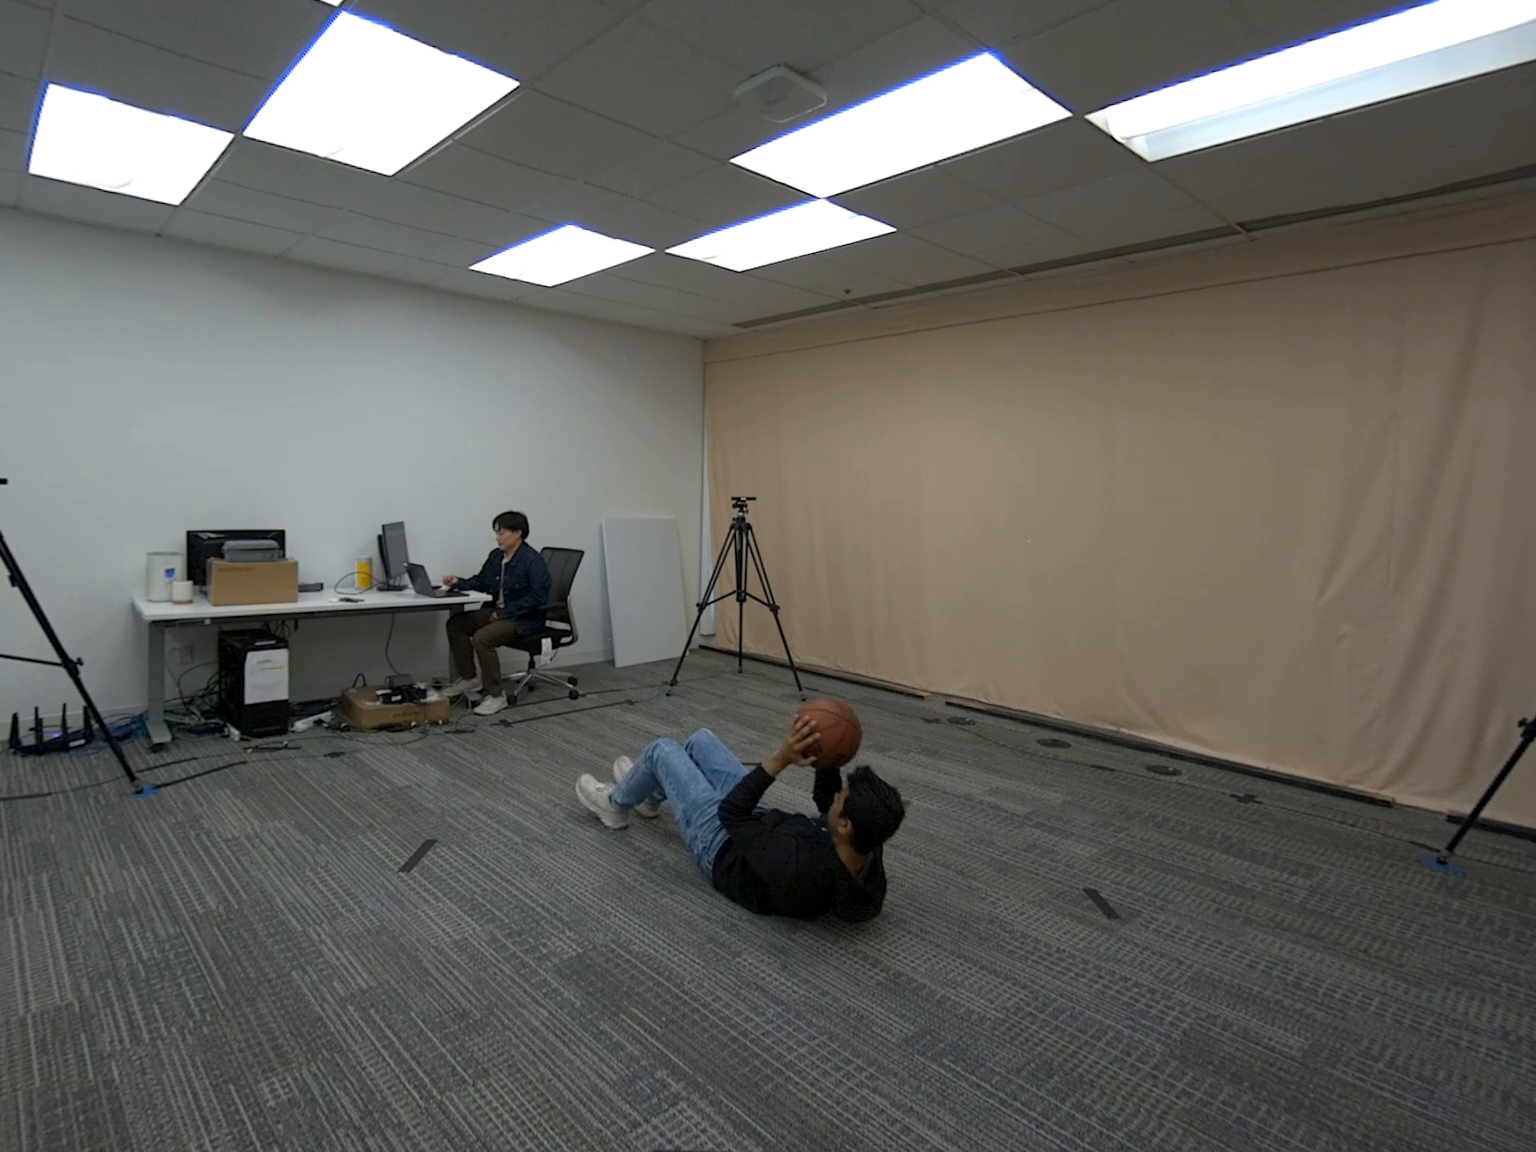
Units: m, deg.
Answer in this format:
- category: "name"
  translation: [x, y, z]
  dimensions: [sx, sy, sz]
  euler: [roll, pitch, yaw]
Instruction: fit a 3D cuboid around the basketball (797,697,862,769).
- category: "basketball"
  translation: [0.187, 0.535, 2.809]
  dimensions: [0.236, 0.235, 0.237]
  euler: [1, 4, -1]
